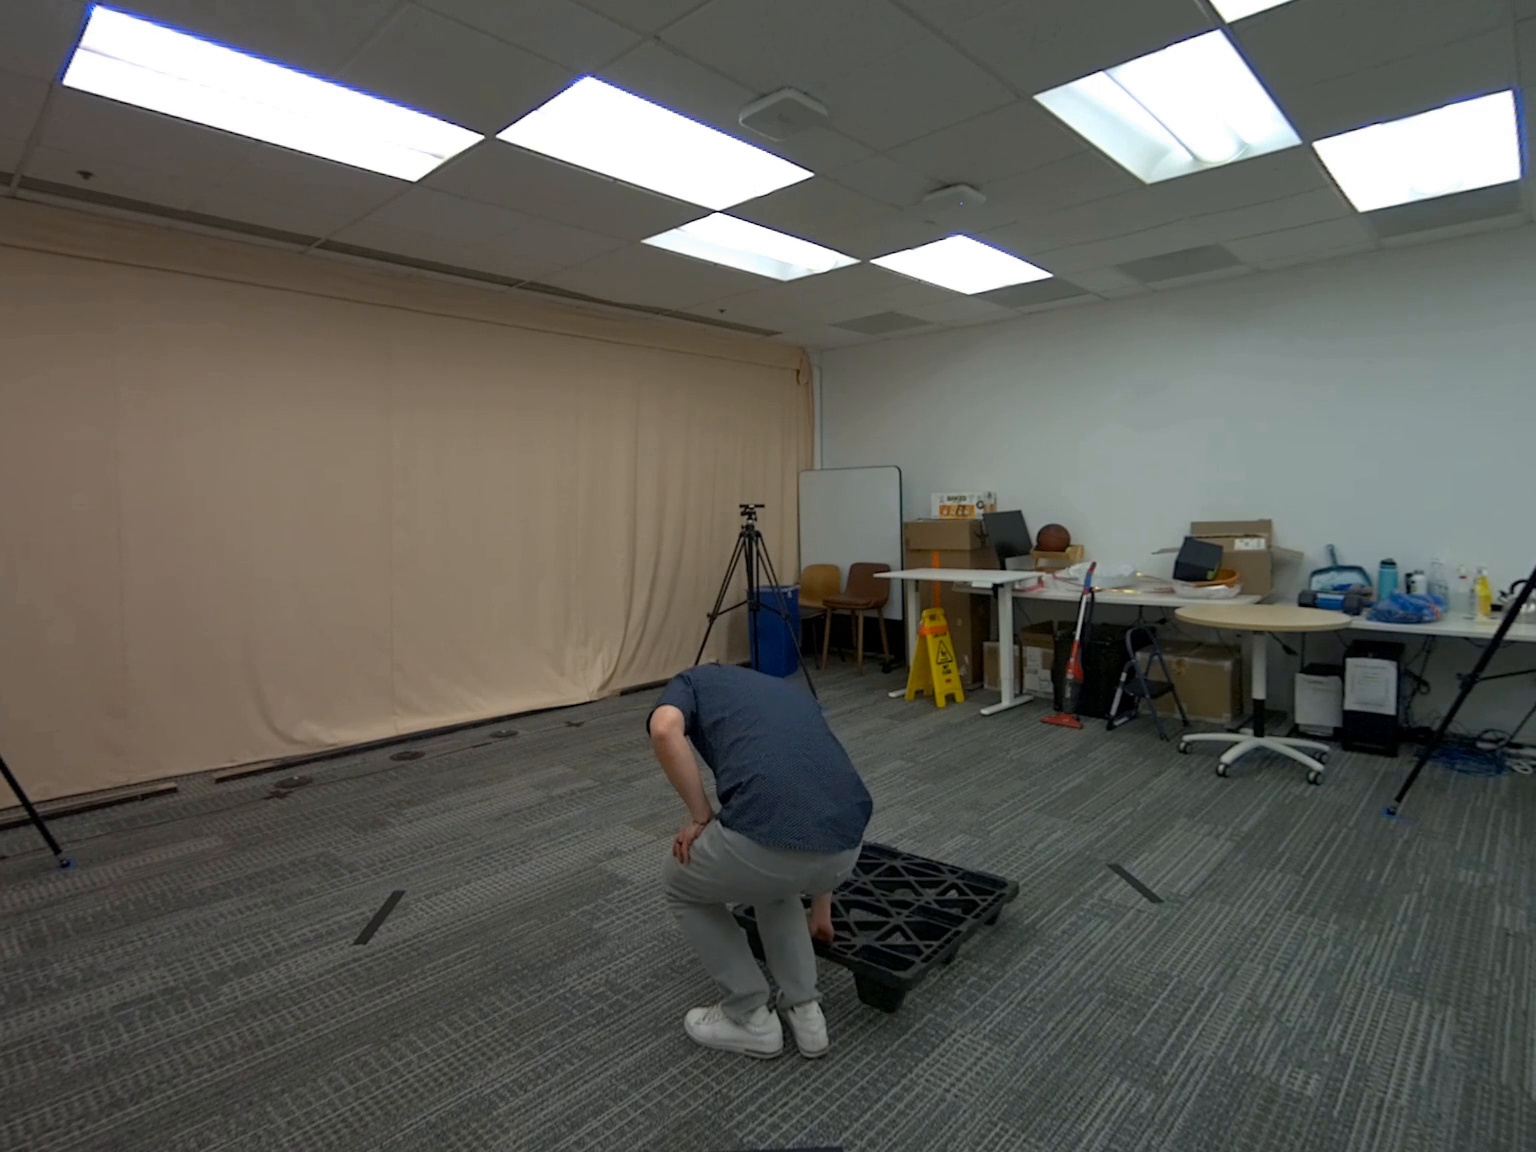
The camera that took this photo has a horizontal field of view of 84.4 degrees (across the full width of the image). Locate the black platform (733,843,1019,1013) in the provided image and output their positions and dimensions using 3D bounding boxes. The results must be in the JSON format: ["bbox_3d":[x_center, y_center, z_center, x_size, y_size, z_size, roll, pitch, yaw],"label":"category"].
[{"bbox_3d":[0.368,1.078,2.656,0.625,0.143,0.781,4,4,38],"label":"black platform"}]
